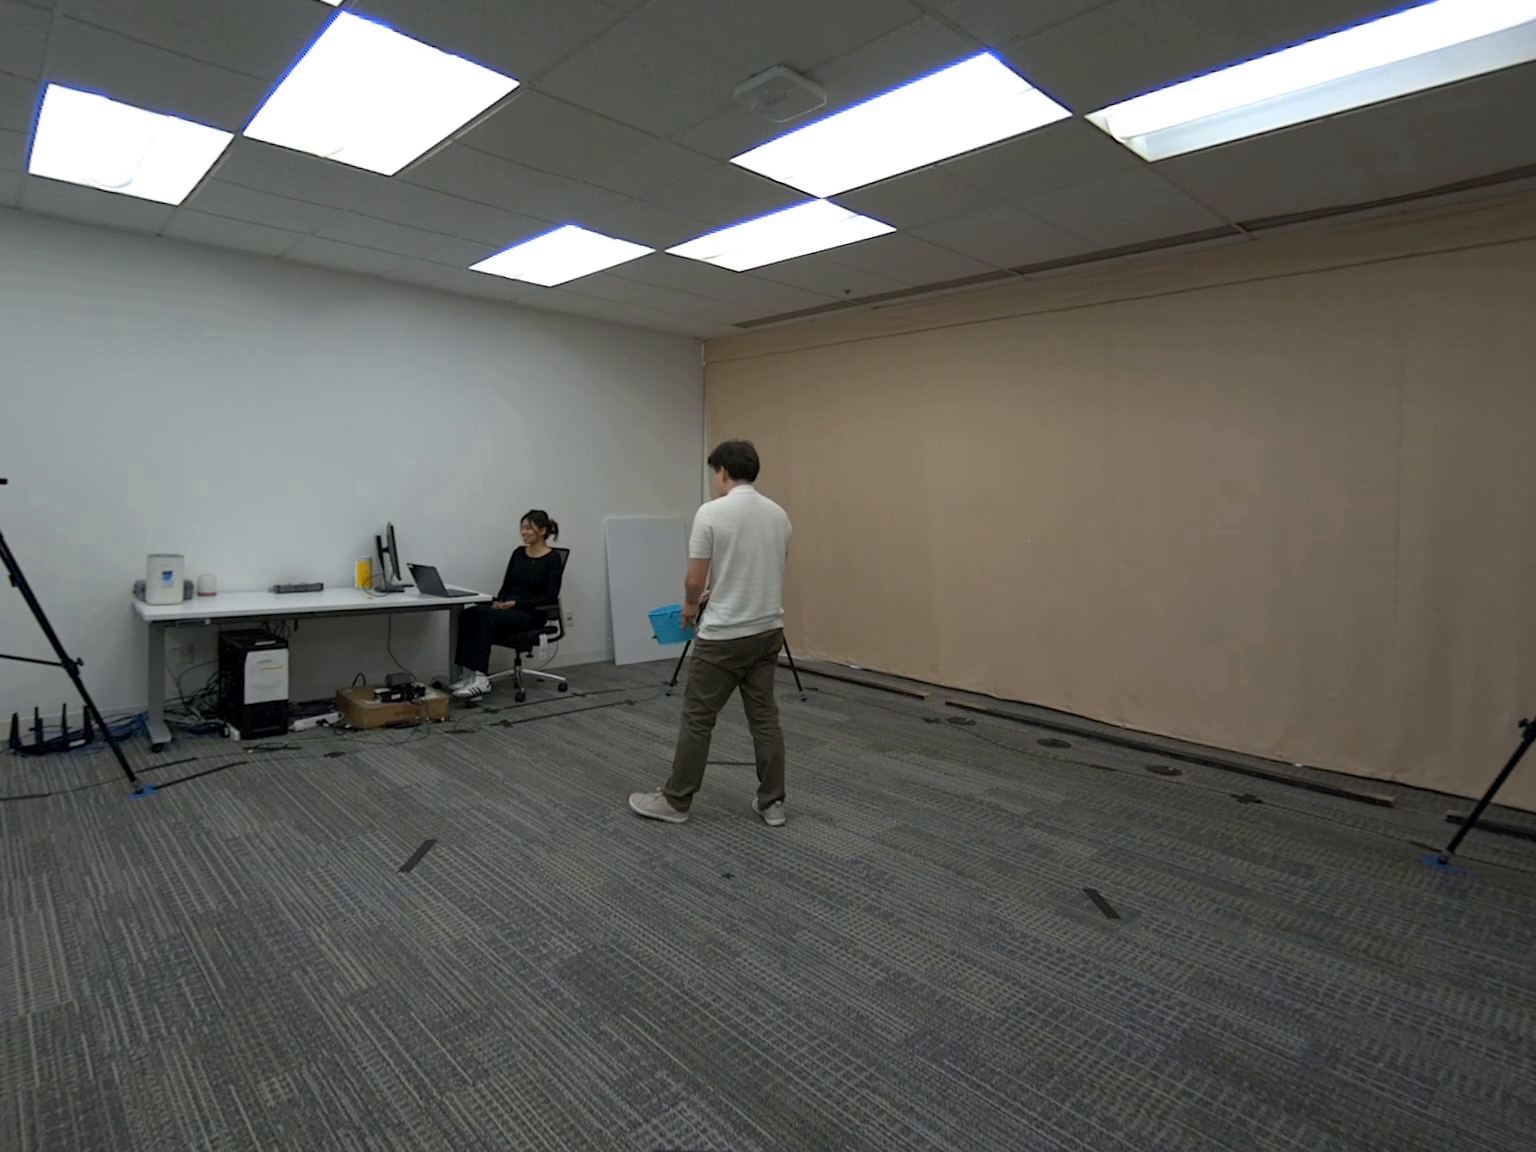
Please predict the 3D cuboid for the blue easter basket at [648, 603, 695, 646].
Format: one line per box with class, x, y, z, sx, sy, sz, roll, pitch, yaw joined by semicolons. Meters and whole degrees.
blue easter basket;-0.448;0.216;3.930;0.243;0.155;0.245;-10;6;0
